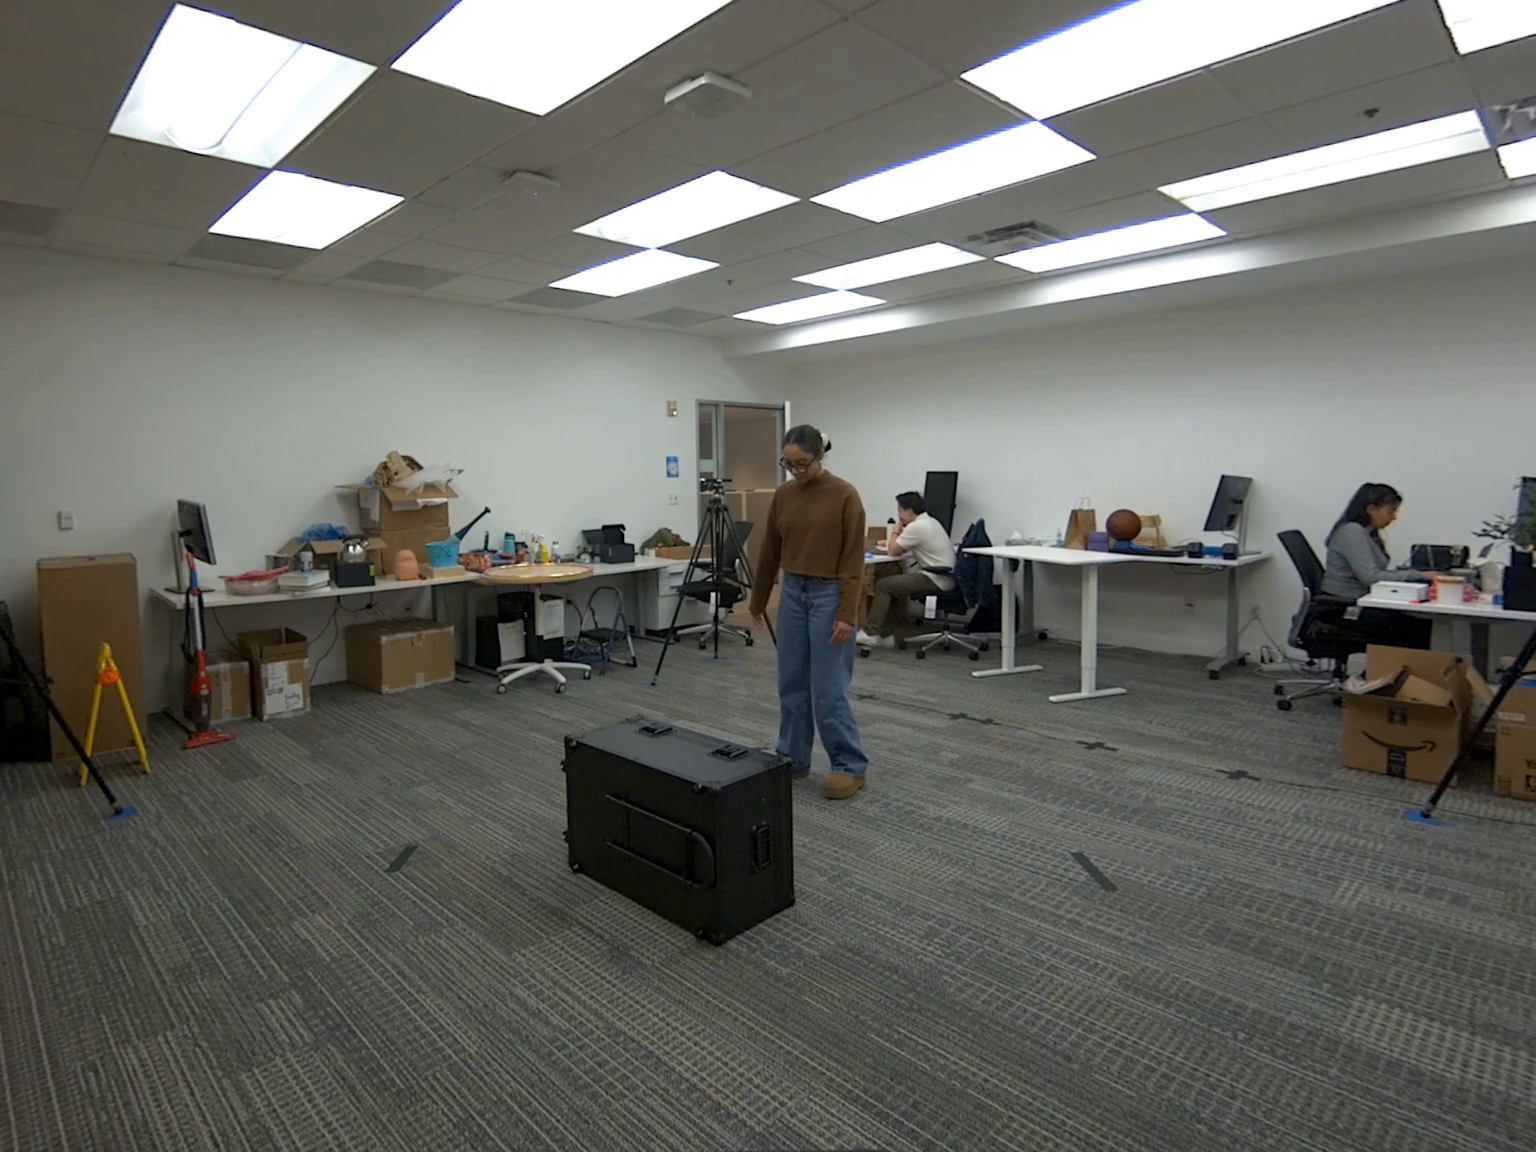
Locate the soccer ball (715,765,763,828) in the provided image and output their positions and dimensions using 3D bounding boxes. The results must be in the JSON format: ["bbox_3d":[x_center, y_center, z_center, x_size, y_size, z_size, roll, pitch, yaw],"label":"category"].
[{"bbox_3d":[-0.124,0.903,3.529,0.187,0.187,0.188,-1,5,-2],"label":"soccer ball"}]
